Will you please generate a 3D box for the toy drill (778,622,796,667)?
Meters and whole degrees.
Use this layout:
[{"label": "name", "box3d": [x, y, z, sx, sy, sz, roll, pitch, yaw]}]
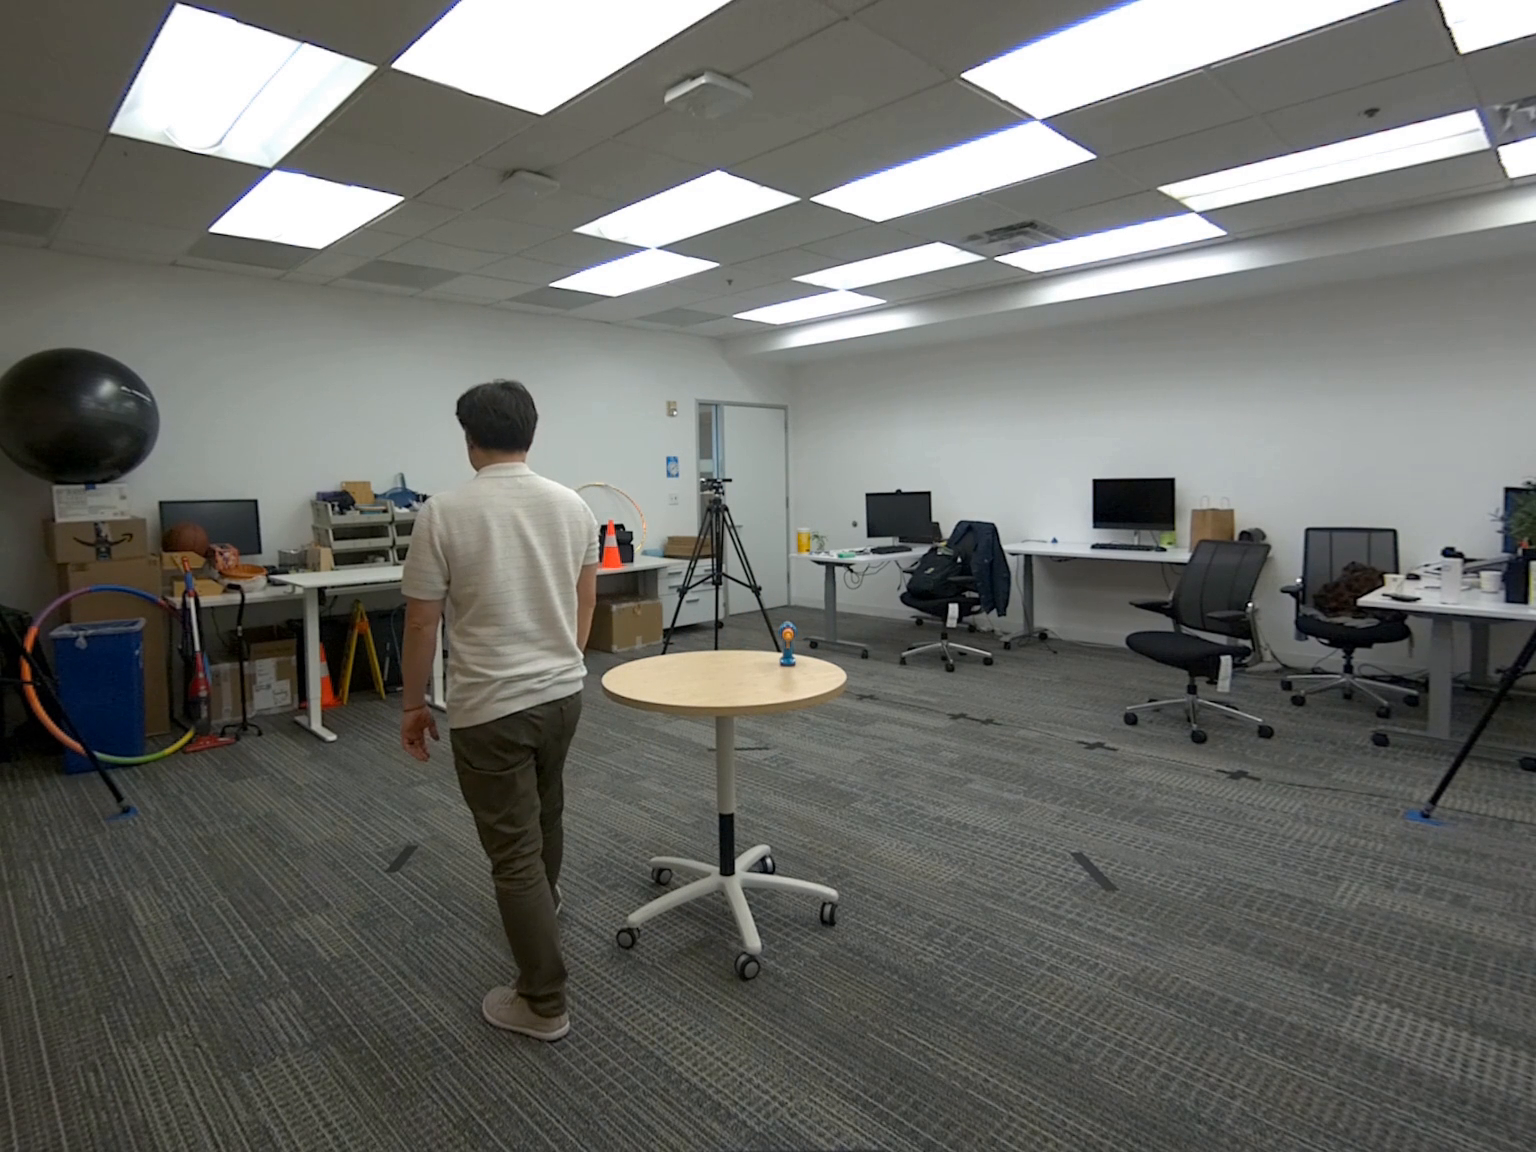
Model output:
[{"label": "toy drill", "box3d": [0.068, 0.223, 2.773, 0.061, 0.145, 0.170, 0, 5, -1]}]
